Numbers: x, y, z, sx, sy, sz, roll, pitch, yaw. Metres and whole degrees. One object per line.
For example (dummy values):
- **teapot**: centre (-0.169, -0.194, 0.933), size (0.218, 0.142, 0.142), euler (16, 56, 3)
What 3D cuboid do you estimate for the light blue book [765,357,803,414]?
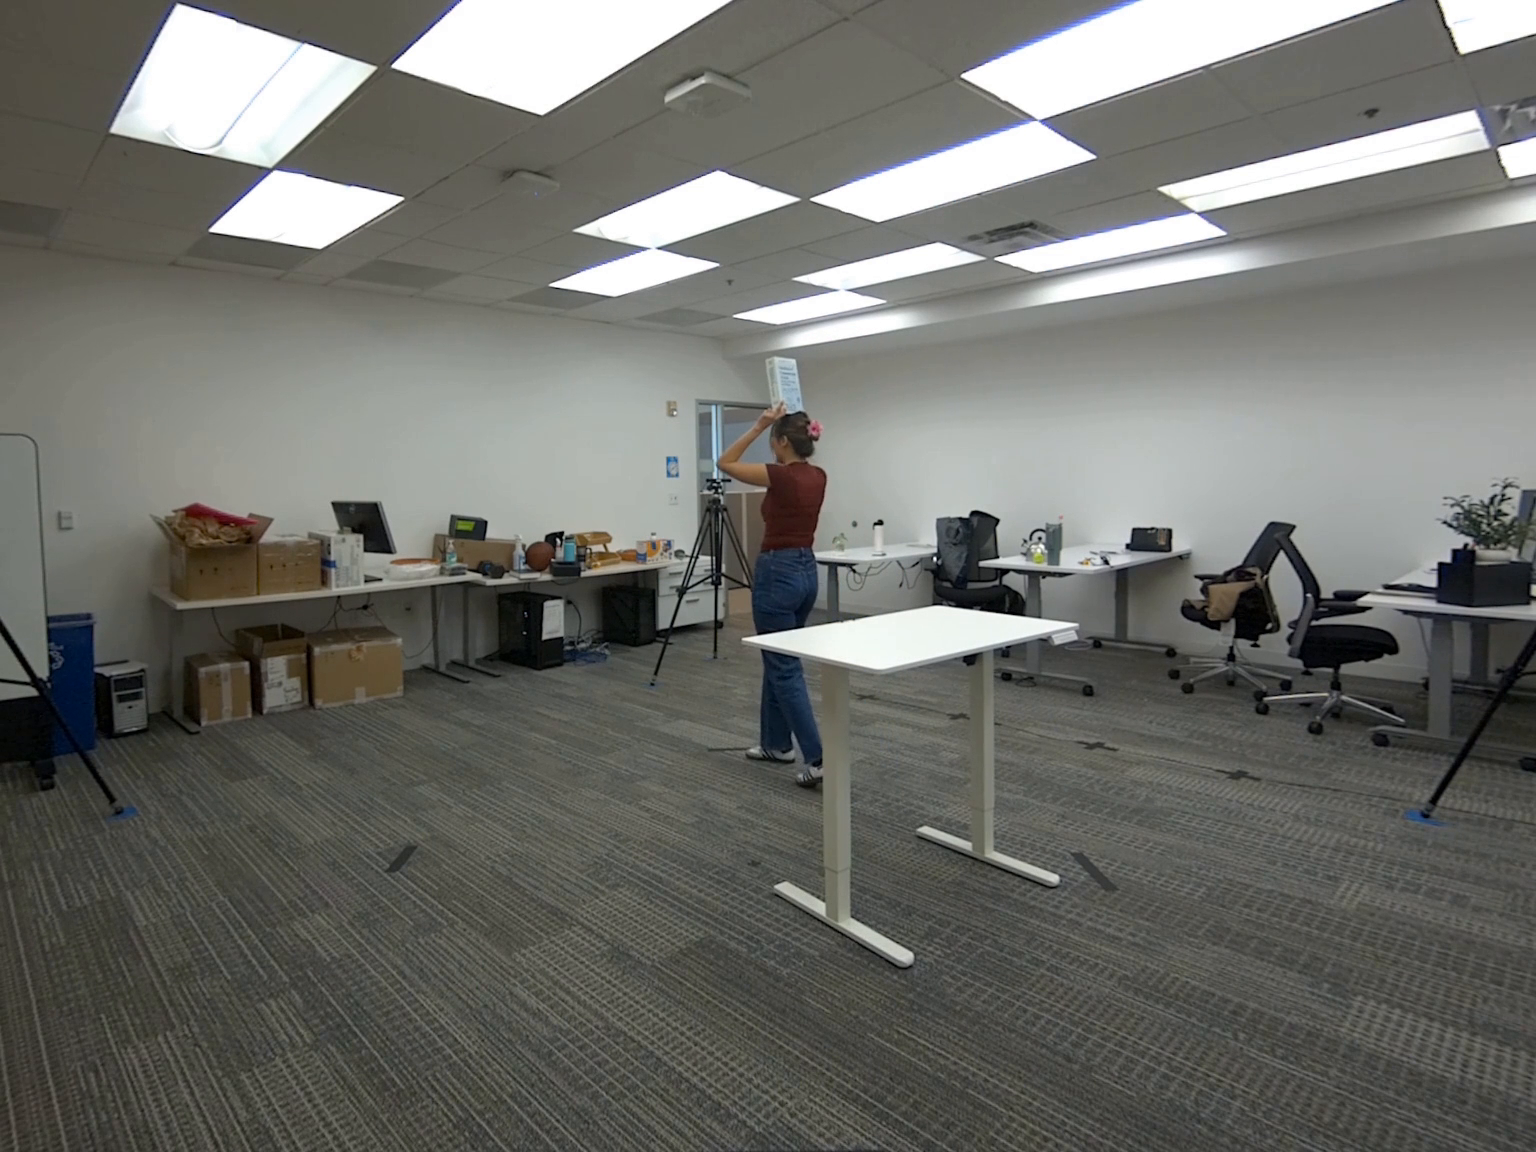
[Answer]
- **light blue book**: centre (0.075, -0.881, 3.992), size (0.060, 0.261, 0.187), euler (-8, 1, 32)
